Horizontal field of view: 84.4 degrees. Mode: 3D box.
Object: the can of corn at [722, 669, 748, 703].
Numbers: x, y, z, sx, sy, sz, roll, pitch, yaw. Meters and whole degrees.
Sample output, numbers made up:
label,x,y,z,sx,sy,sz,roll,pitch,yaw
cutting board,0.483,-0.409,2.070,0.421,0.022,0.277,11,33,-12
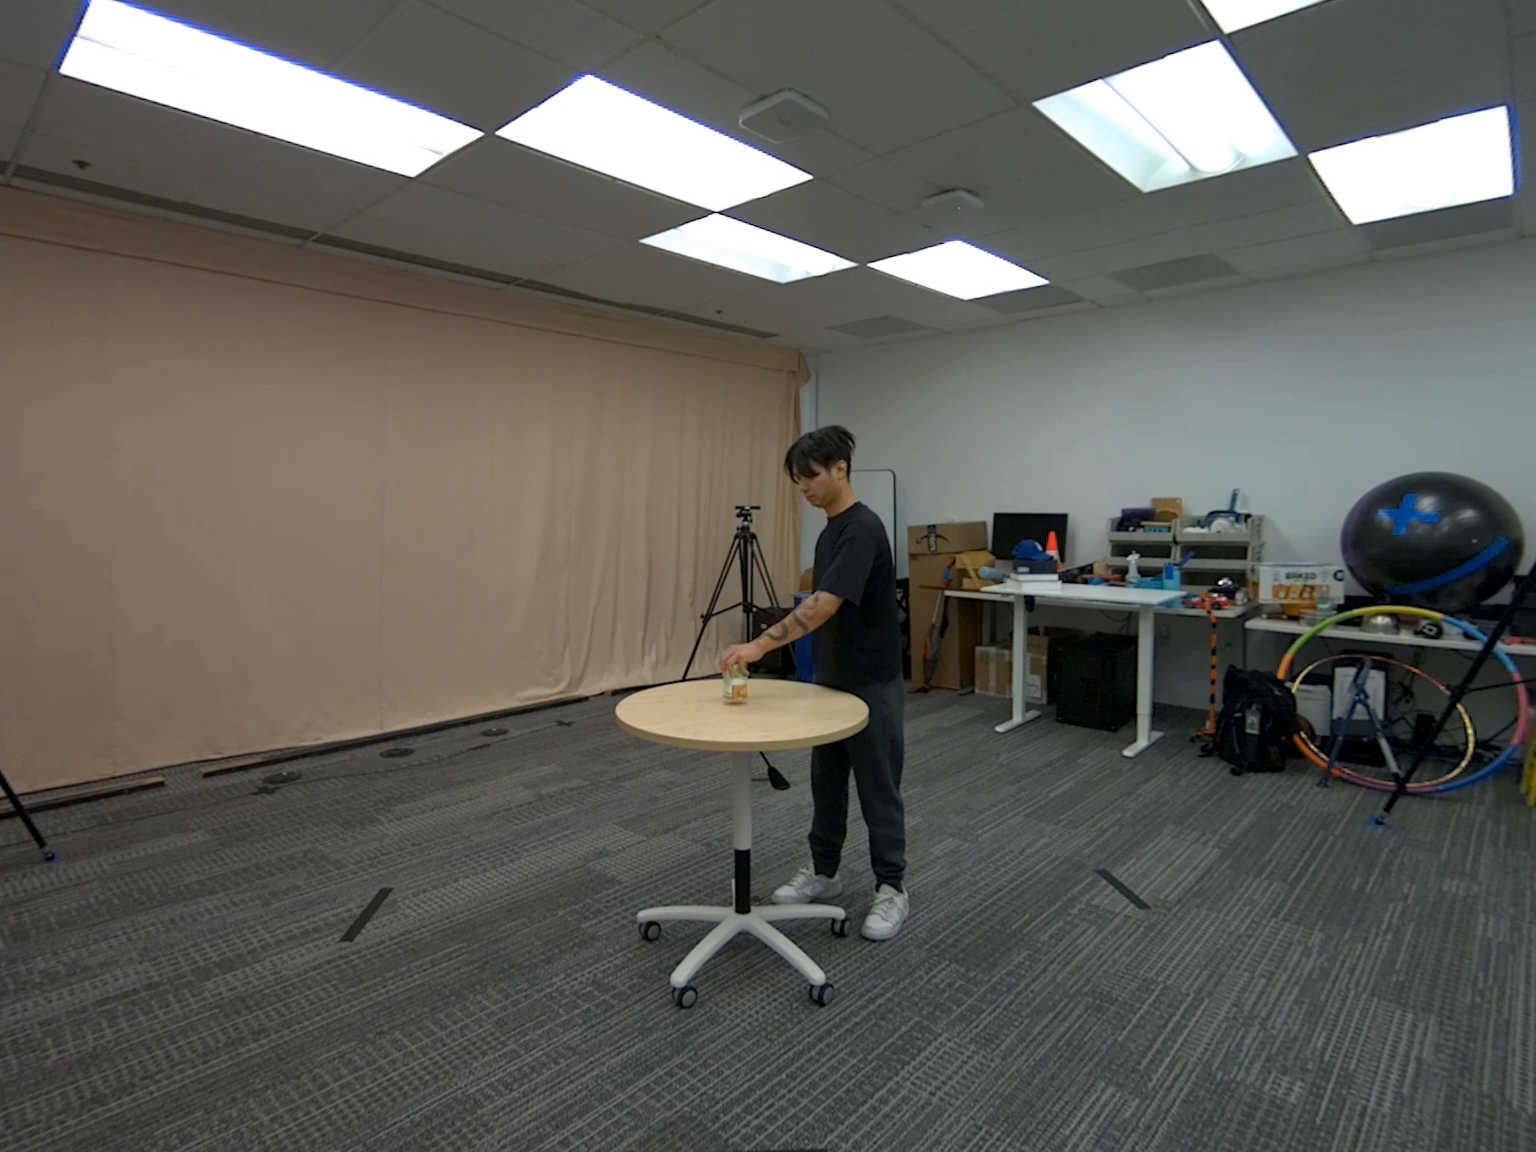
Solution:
label,x,y,z,sx,sy,sz,roll,pitch,yaw
can of corn,-0.099,0.320,2.591,0.074,0.111,0.074,3,3,-2
